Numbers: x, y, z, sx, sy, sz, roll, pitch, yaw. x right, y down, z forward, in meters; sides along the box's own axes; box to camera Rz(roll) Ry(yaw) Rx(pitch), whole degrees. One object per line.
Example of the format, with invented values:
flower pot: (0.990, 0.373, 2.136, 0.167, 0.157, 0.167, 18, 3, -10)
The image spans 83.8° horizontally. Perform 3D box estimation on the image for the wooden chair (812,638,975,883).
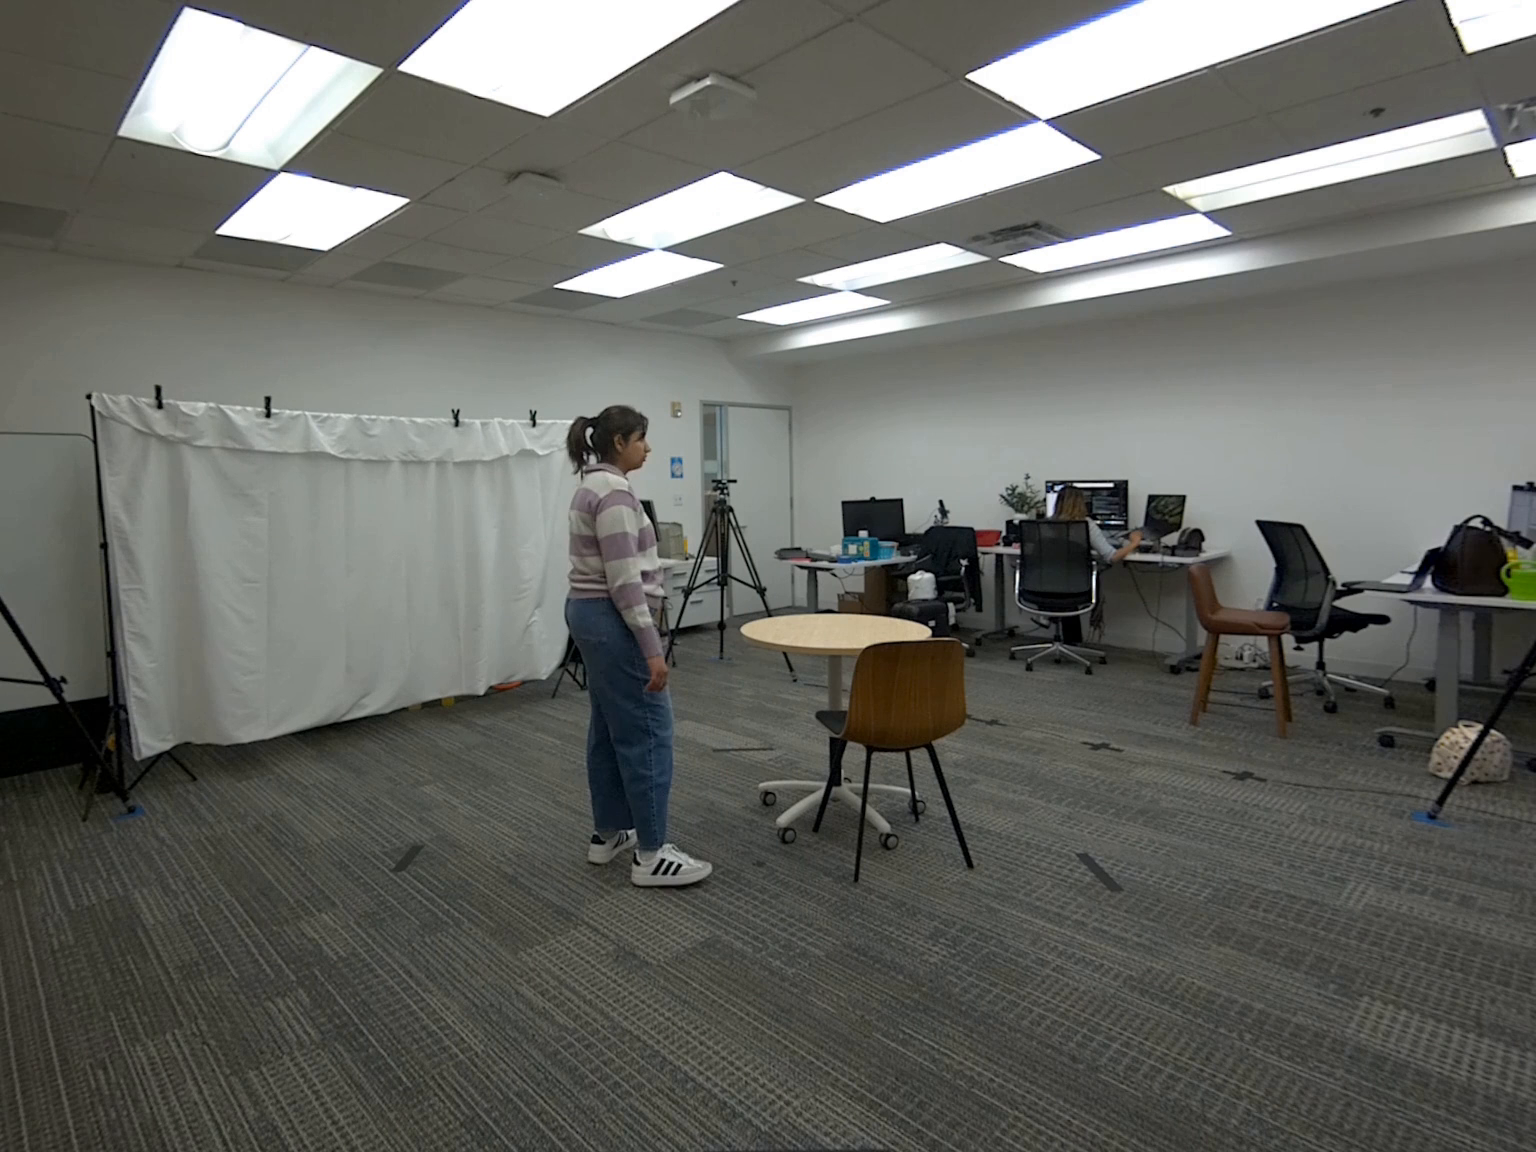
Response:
wooden chair: (0.440, 0.600, 3.189, 0.472, 0.871, 0.534, -3, 8, -15)
